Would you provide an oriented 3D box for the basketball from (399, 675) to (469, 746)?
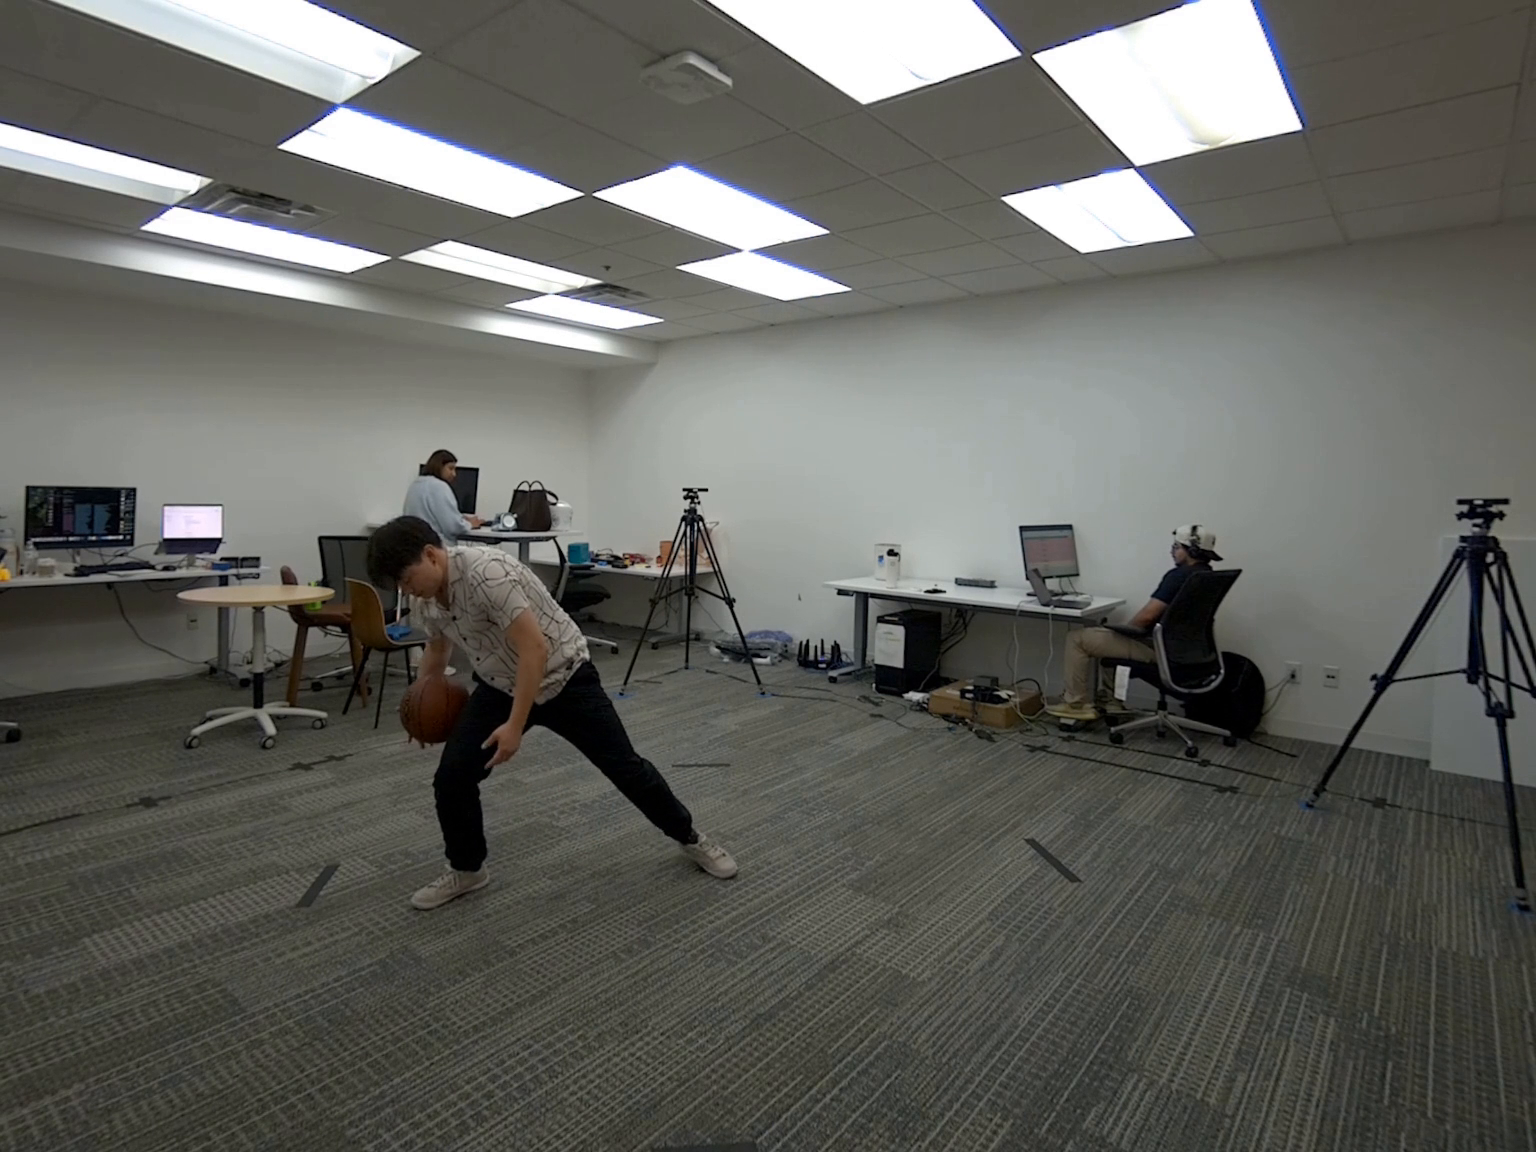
[{"bbox_3d":[-1.168,0.462,2.962,0.235,0.235,0.237,1,4,-2],"label":"basketball"}]
